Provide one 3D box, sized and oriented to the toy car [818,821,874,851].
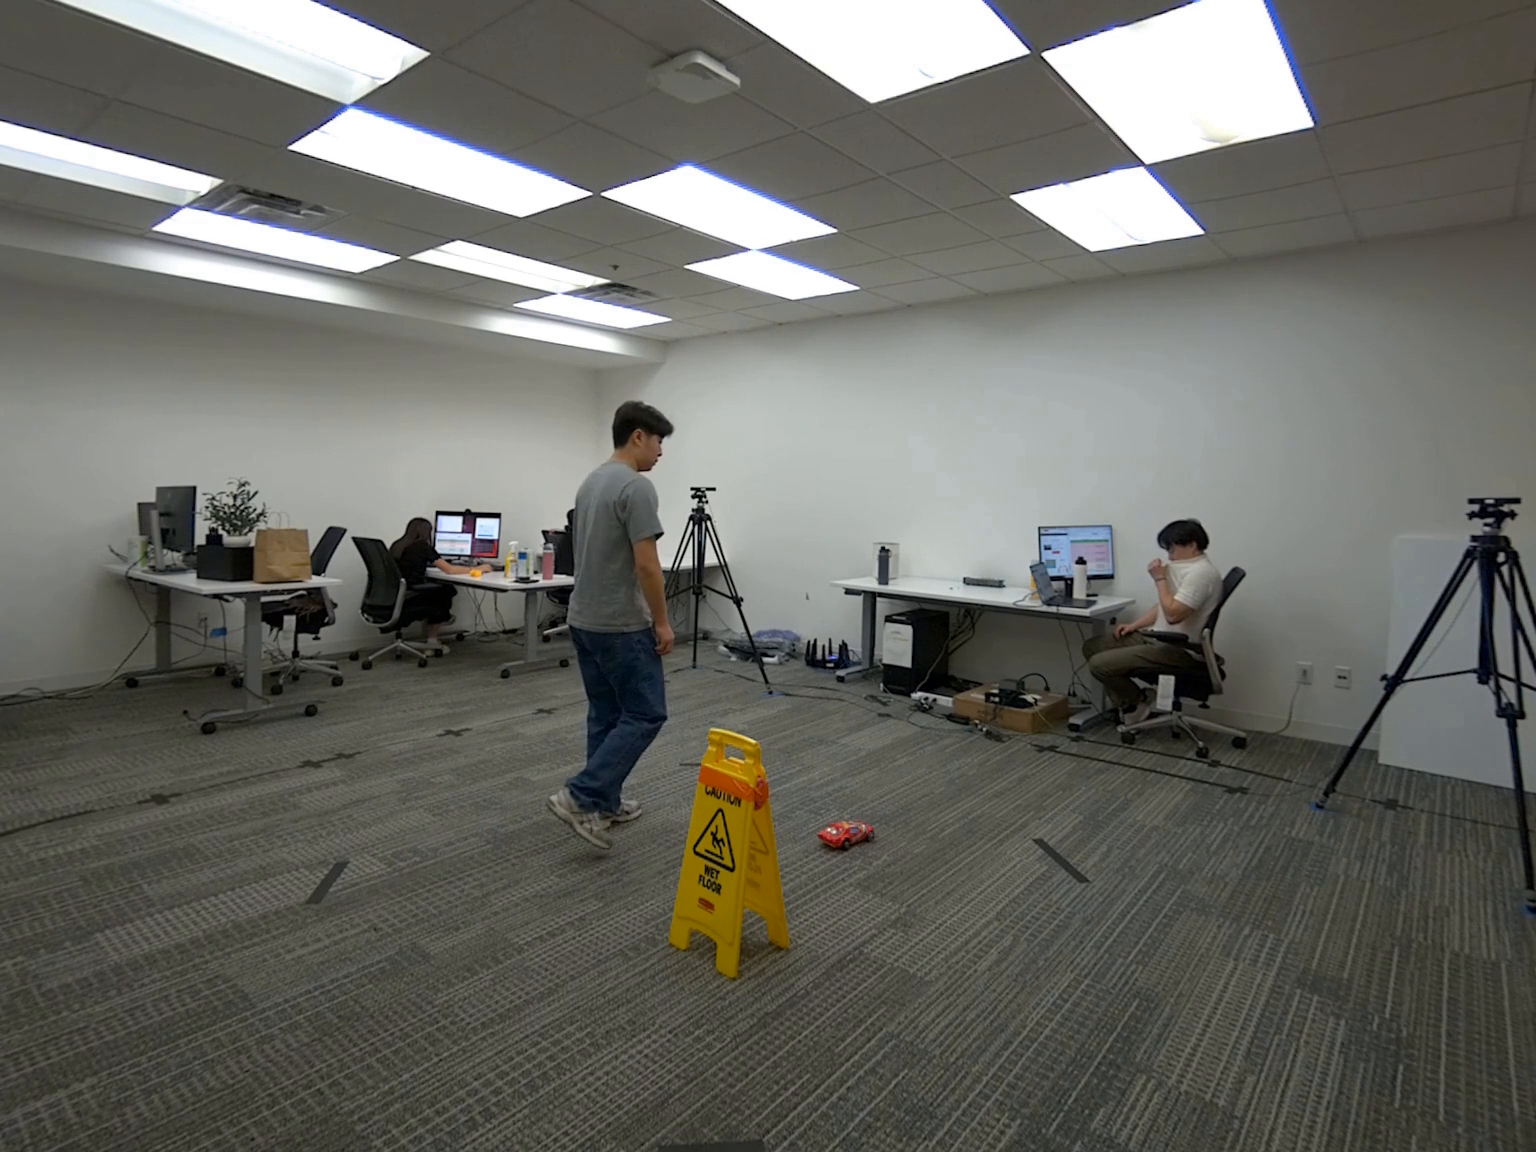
[{"bbox_3d":[0.298,1.020,3.364,0.245,0.083,0.135,12,-2,-40],"label":"toy car"}]
